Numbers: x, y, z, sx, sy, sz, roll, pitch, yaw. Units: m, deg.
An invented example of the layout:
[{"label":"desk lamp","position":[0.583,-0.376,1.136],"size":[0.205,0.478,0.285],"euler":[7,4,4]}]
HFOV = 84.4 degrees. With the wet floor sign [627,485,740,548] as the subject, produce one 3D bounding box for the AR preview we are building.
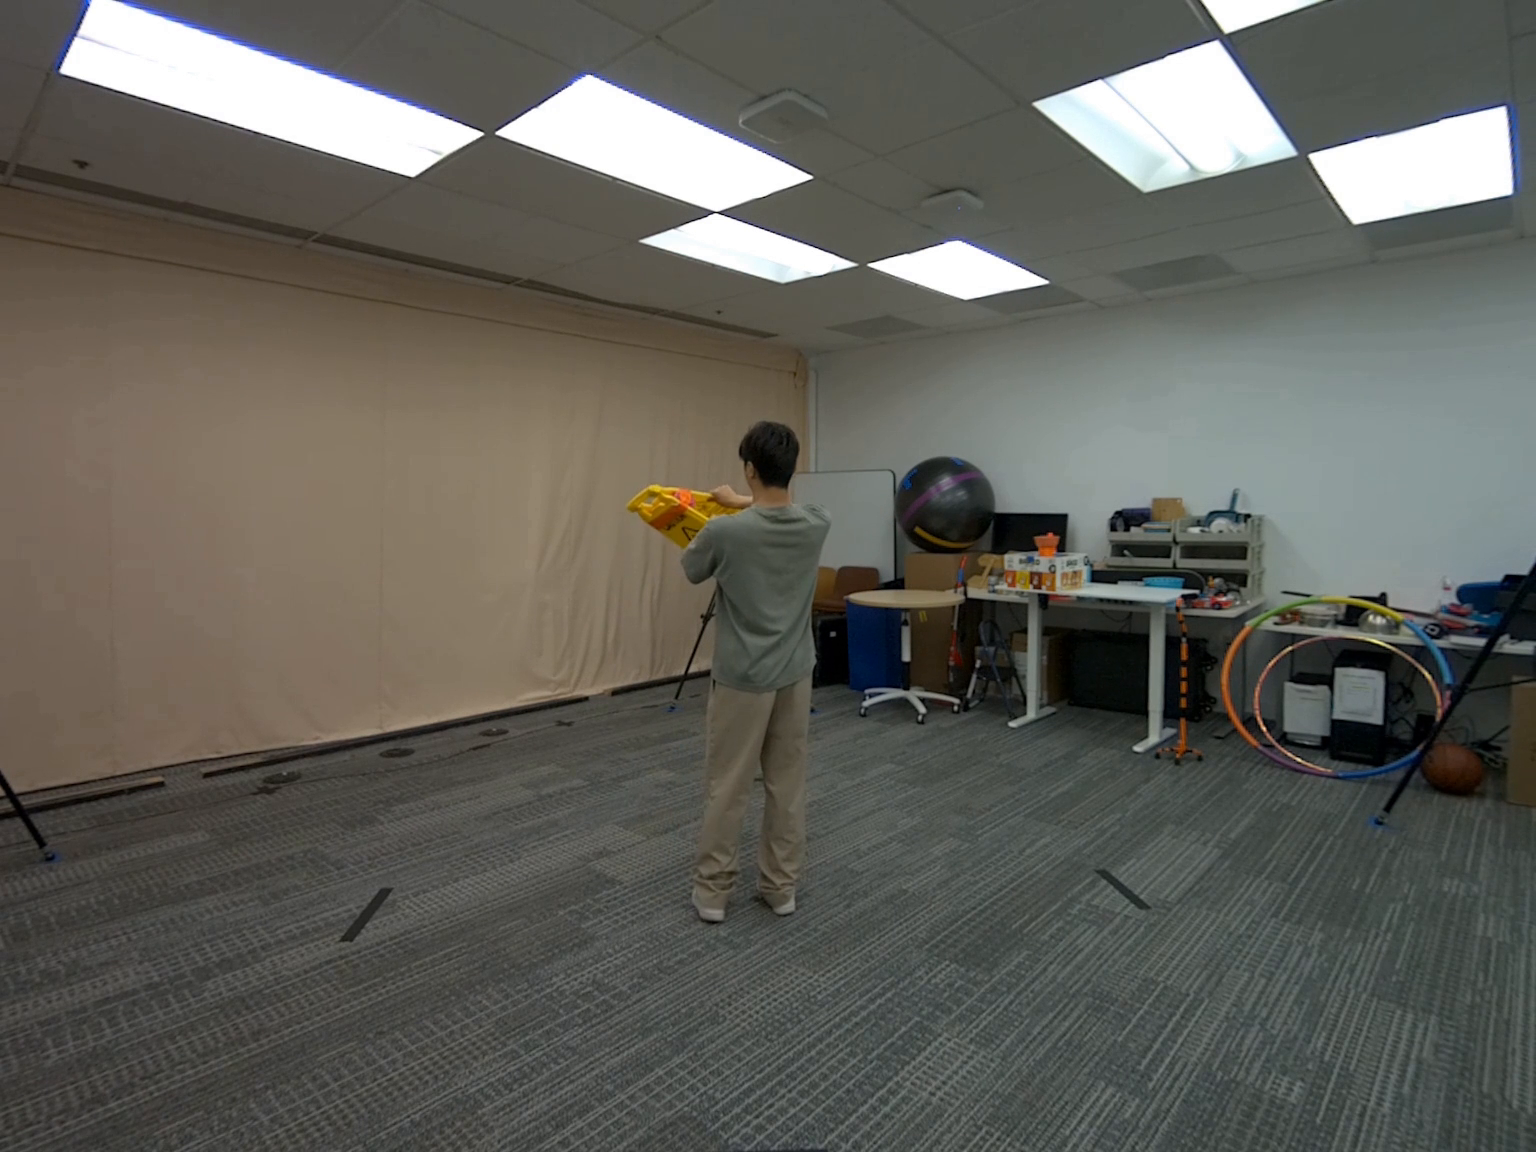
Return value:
[{"label":"wet floor sign","position":[-0.247,-0.205,3.381],"size":[0.627,0.294,0.287],"euler":[21,-33,-29]}]
